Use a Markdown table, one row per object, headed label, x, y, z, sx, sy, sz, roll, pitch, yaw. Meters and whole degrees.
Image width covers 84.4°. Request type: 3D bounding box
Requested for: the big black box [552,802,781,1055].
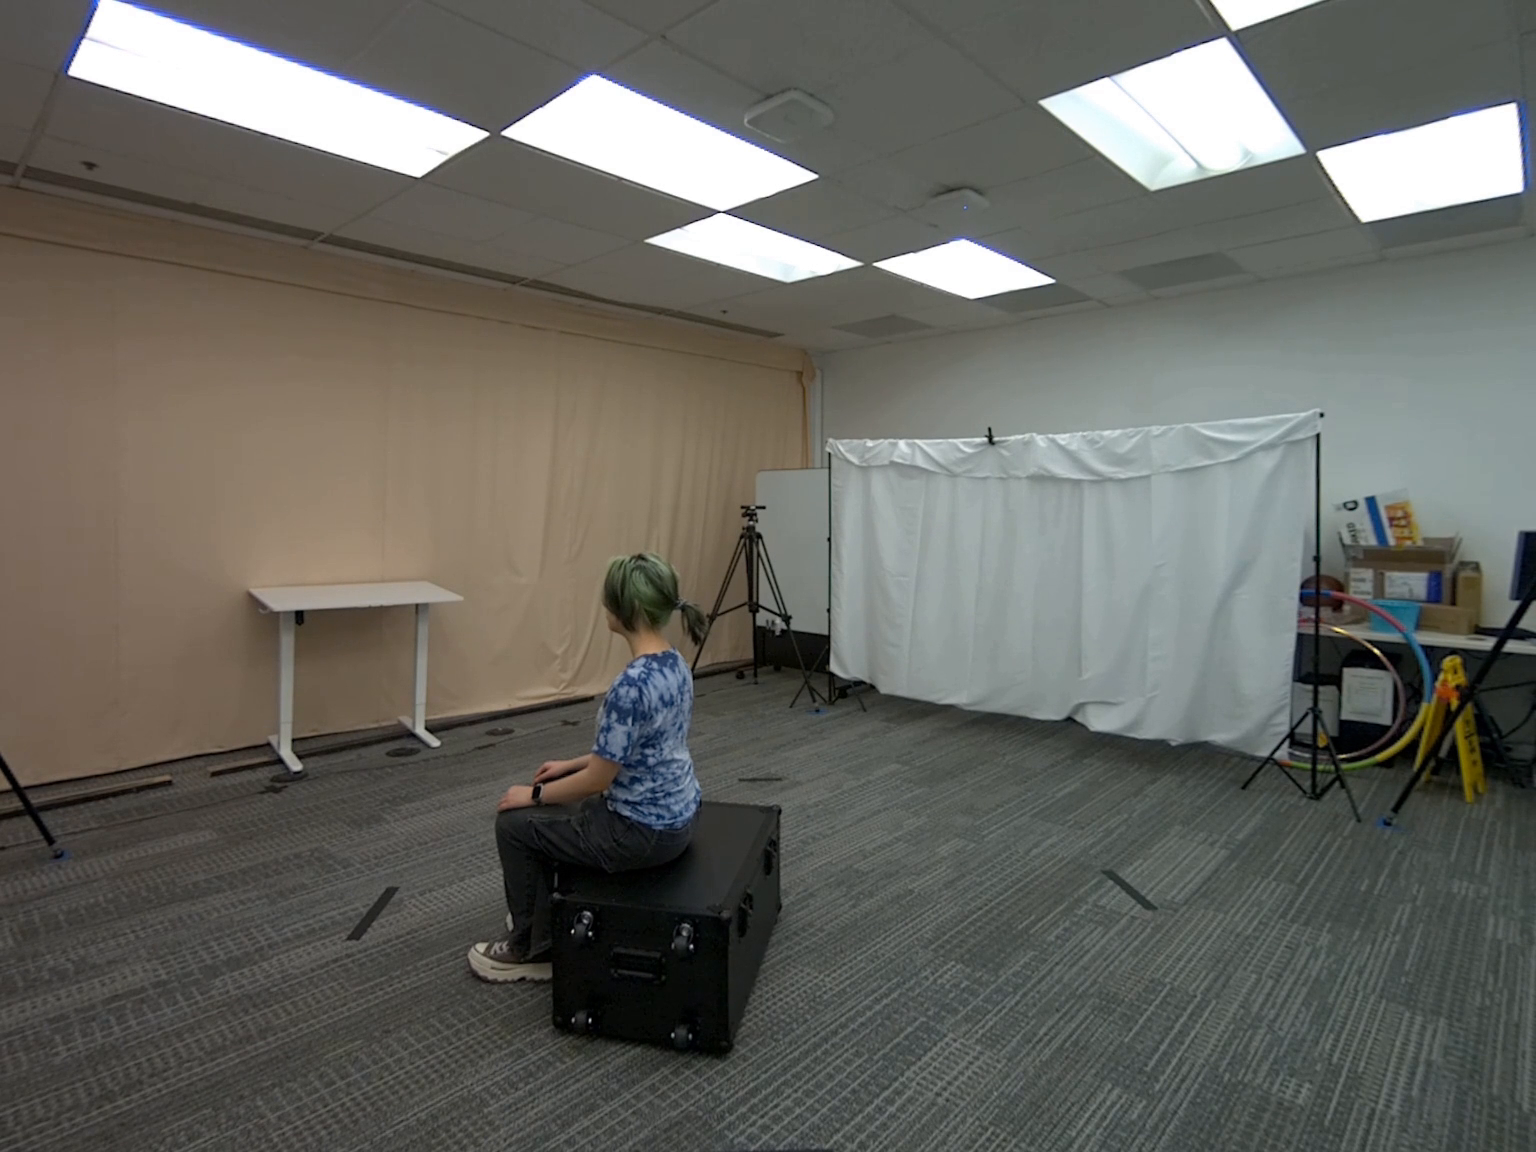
| label | x | y | z | sx | sy | sz | roll | pitch | yaw |
| --- | --- | --- | --- | --- | --- | --- | --- | --- | --- |
| big black box | -0.264 | 0.996 | 2.496 | 0.528 | 0.395 | 0.852 | 1 | 4 | 11 |
